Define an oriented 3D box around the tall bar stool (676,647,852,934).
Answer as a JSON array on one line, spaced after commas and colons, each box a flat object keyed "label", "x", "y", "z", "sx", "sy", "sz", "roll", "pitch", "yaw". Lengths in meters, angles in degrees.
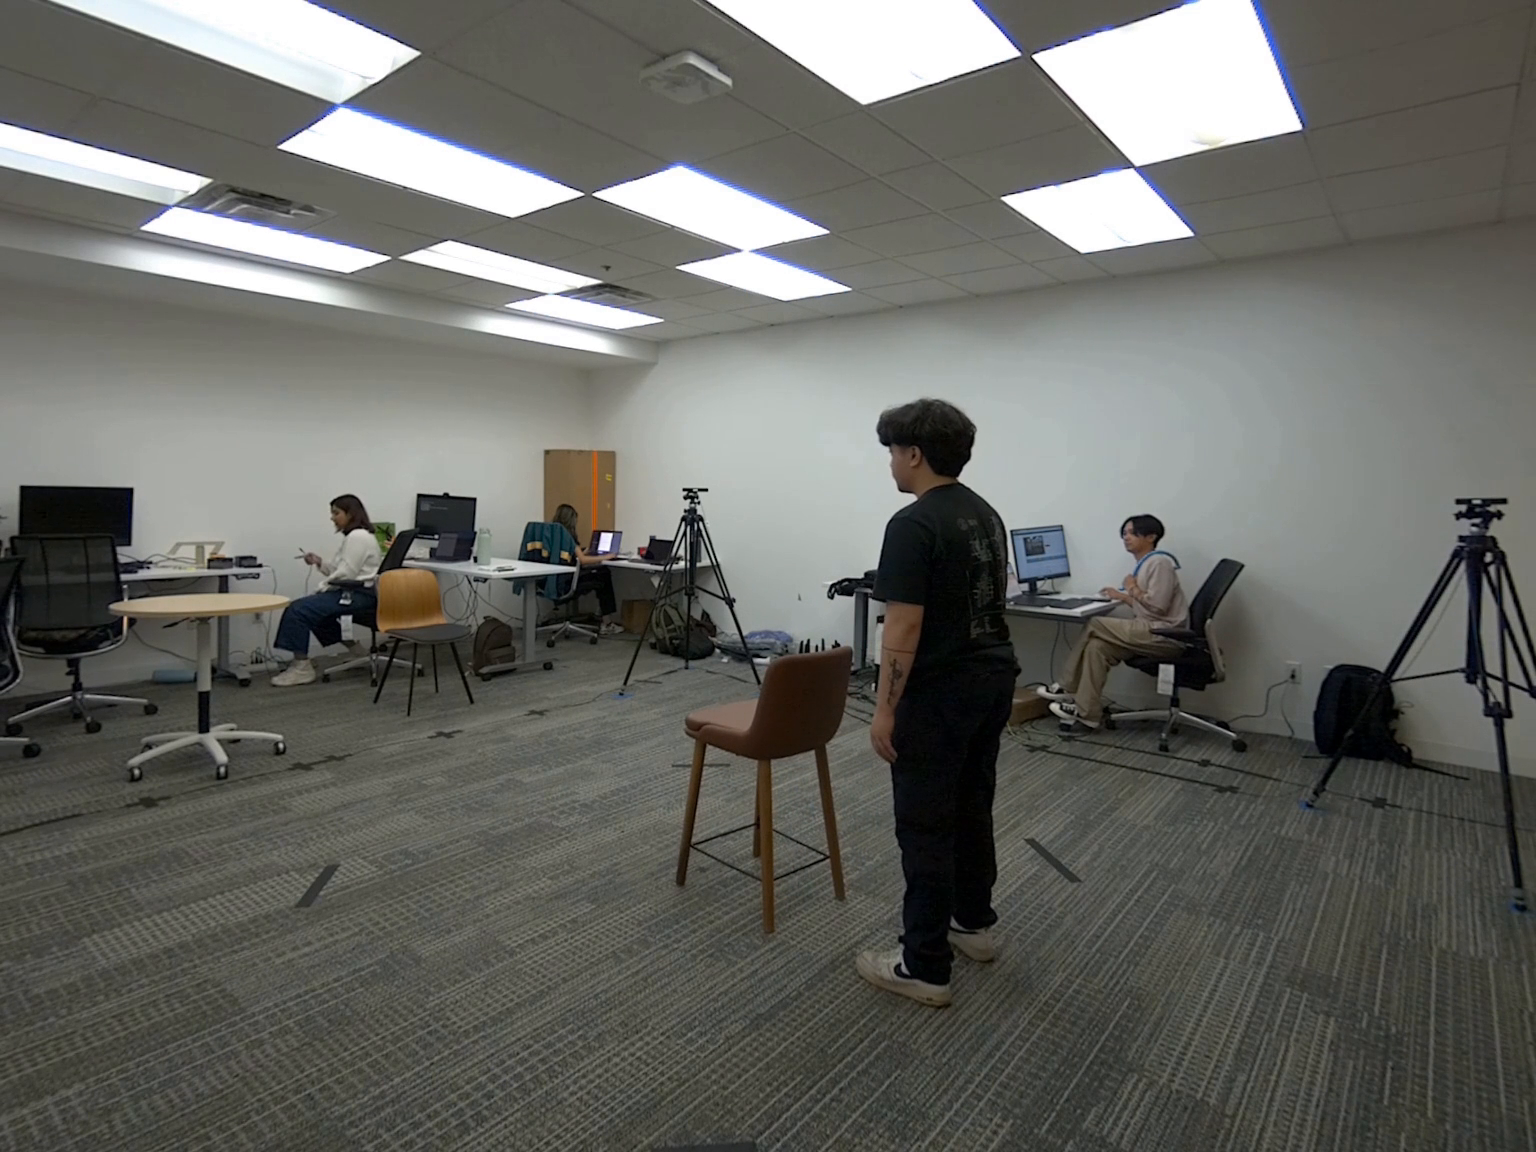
[{"label": "tall bar stool", "x": -0.015, "y": 0.657, "z": 2.923, "sx": 0.442, "sy": 0.886, "sz": 0.484, "roll": -1, "pitch": 6, "yaw": -43}]
